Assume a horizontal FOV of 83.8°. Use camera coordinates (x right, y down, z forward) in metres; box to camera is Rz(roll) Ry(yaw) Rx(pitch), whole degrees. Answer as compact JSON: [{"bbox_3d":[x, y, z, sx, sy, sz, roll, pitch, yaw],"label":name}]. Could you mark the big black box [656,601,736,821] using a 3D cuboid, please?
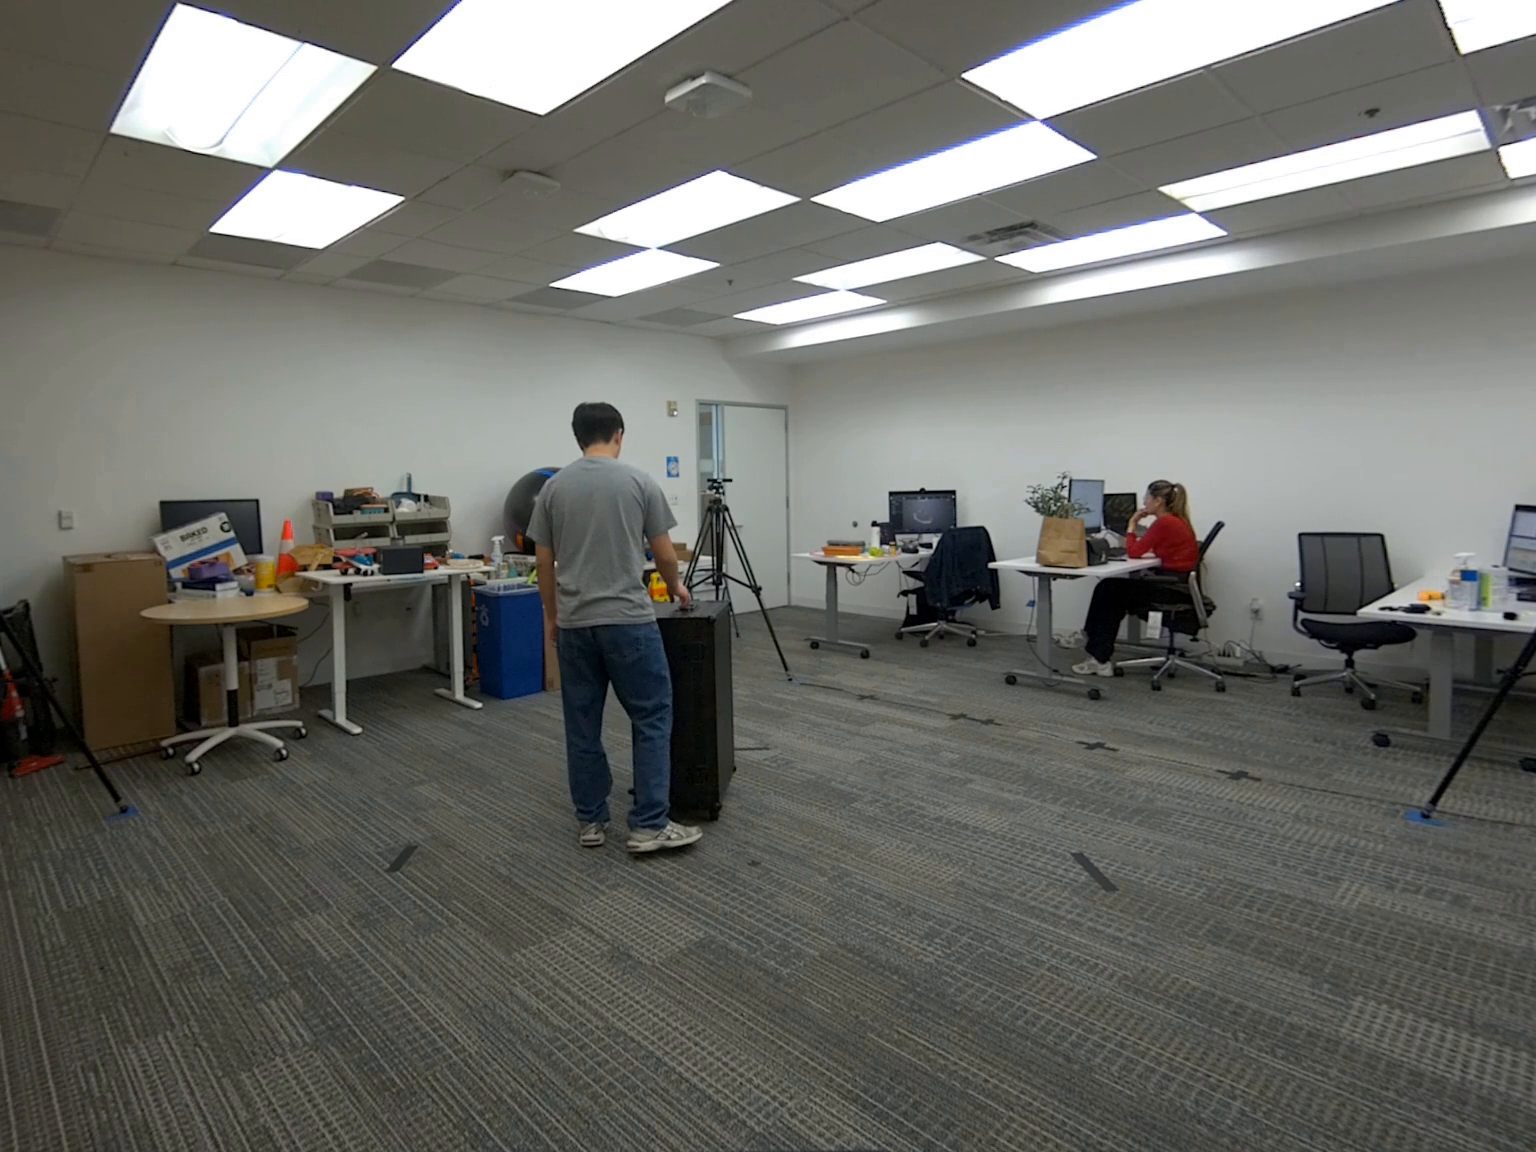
[{"bbox_3d":[-0.362,0.569,3.675,0.399,0.858,0.519,-1,4,6],"label":"big black box"}]
